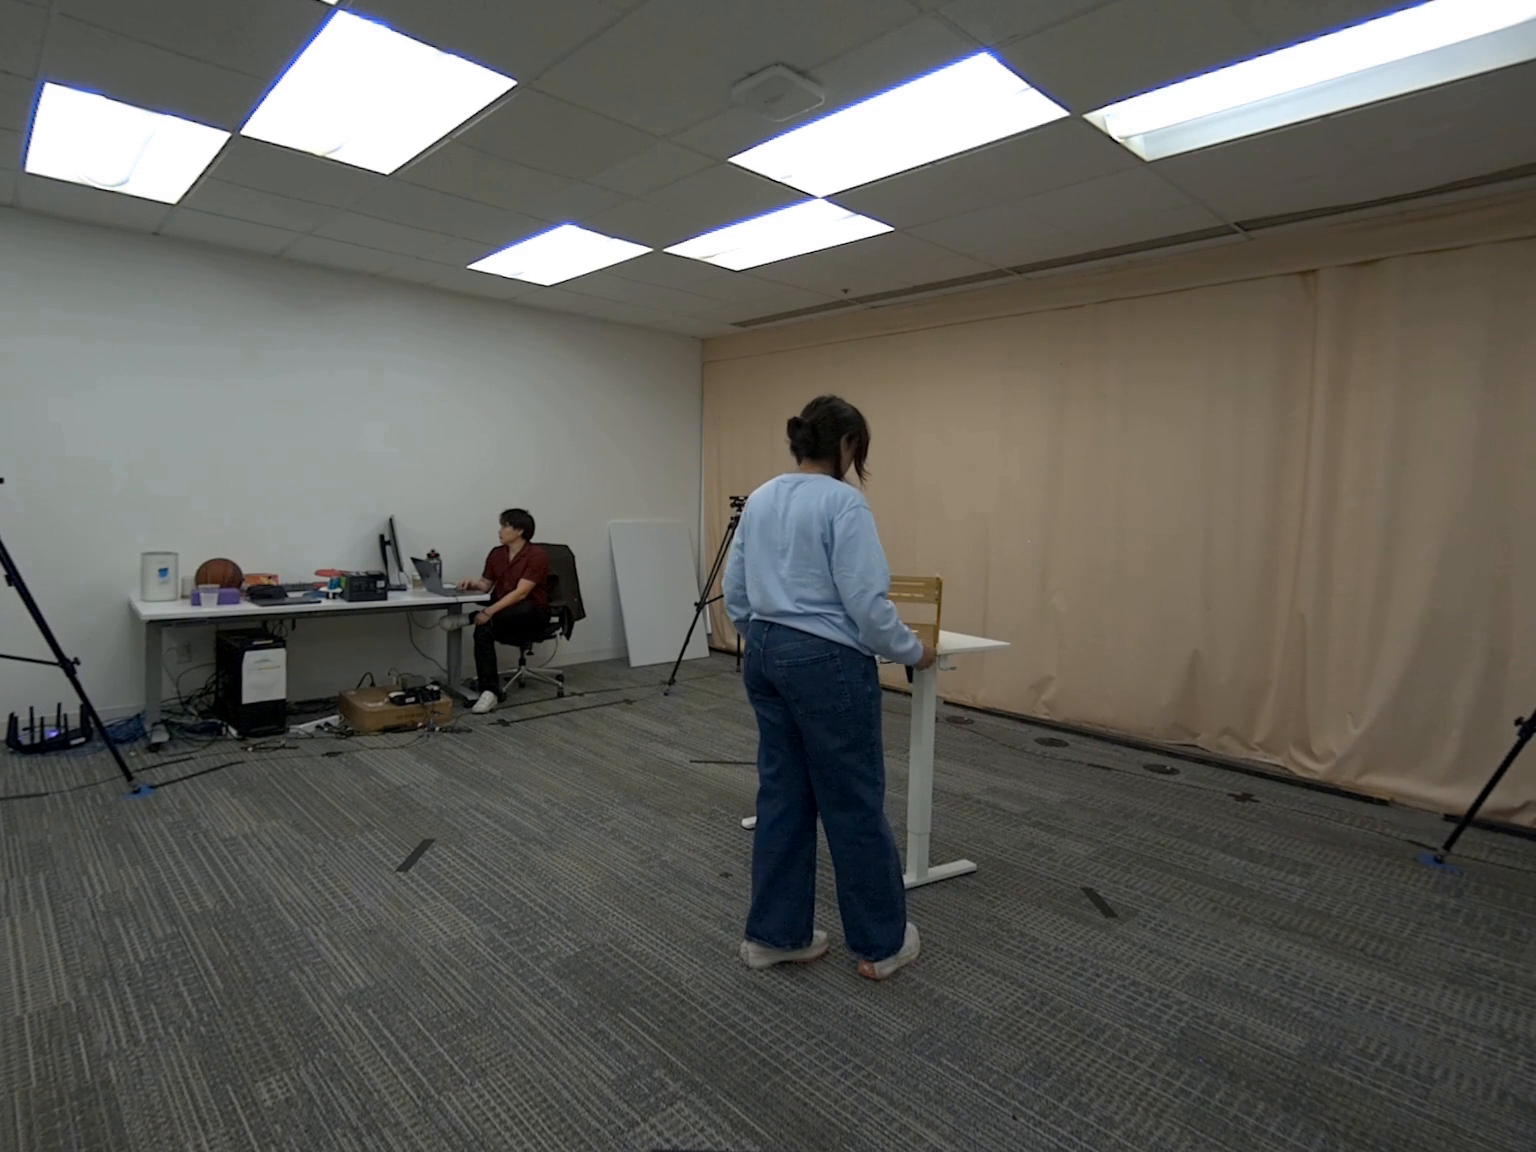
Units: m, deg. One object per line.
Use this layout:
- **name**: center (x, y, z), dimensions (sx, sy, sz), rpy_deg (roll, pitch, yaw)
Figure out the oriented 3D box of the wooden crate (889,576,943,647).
- **wooden crate**: center (0.443, 0.111, 2.979), dimensions (0.327, 0.272, 0.300), rpy_deg (3, 5, 11)
